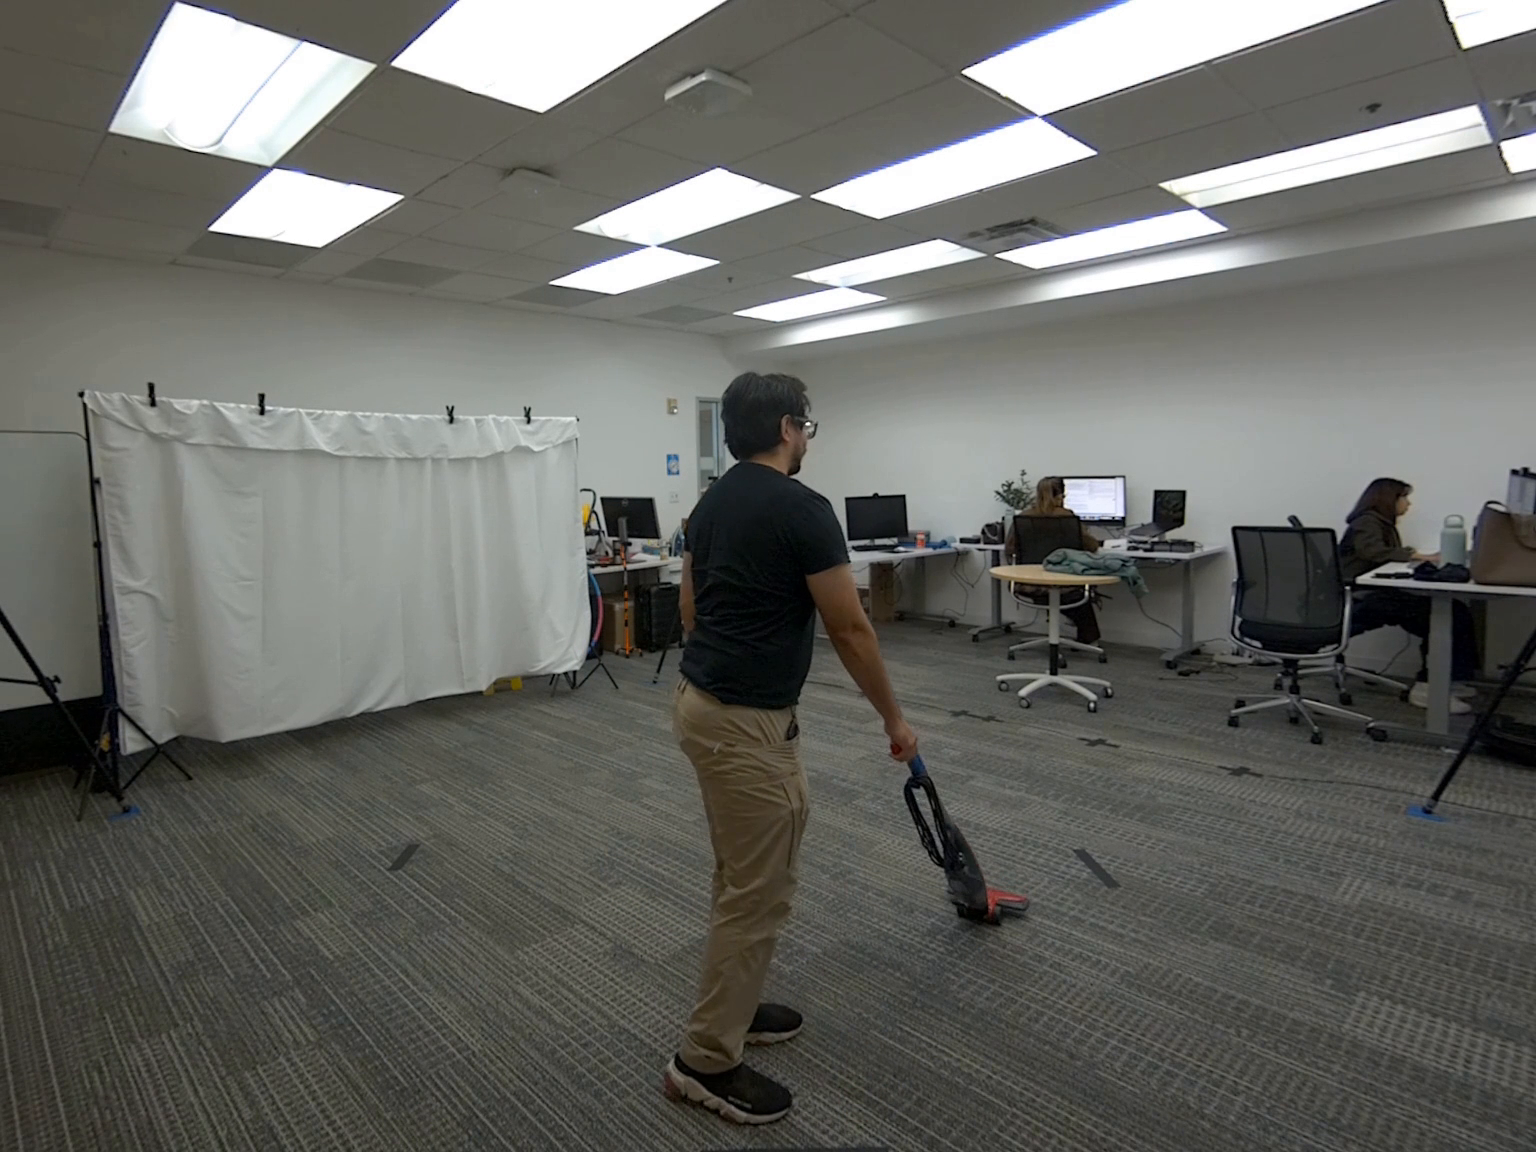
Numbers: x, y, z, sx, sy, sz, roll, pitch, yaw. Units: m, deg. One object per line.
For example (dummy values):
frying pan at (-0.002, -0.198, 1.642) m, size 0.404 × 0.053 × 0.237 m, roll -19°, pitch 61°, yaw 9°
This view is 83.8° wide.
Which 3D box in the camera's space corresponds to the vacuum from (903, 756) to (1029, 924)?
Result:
vacuum at (0.500, 0.734, 2.370) m, size 0.259 × 0.146 × 1.010 m, roll 1°, pitch -38°, yaw 29°
